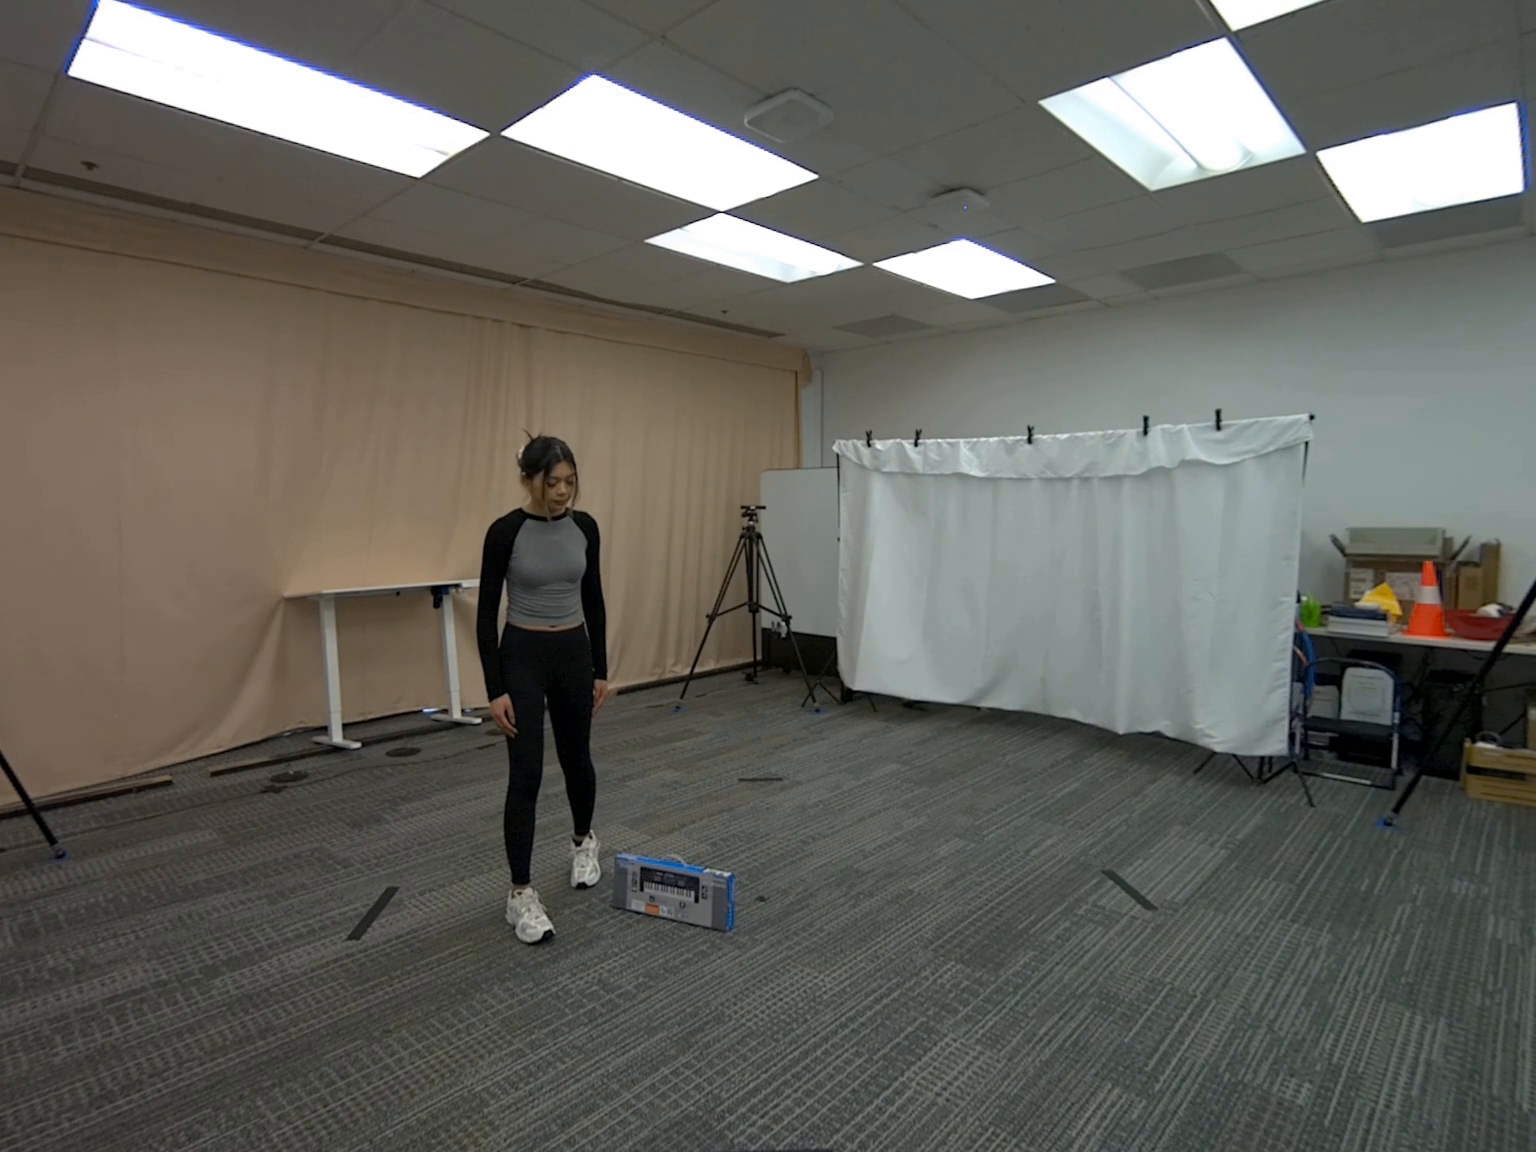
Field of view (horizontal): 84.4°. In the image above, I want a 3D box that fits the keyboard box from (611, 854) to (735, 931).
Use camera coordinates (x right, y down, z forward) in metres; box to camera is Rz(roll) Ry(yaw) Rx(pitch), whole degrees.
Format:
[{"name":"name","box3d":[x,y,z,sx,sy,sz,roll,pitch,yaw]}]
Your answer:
[{"name":"keyboard box","box3d":[-0.321,1.069,2.856,0.447,0.176,0.057,1,-3,24]}]
